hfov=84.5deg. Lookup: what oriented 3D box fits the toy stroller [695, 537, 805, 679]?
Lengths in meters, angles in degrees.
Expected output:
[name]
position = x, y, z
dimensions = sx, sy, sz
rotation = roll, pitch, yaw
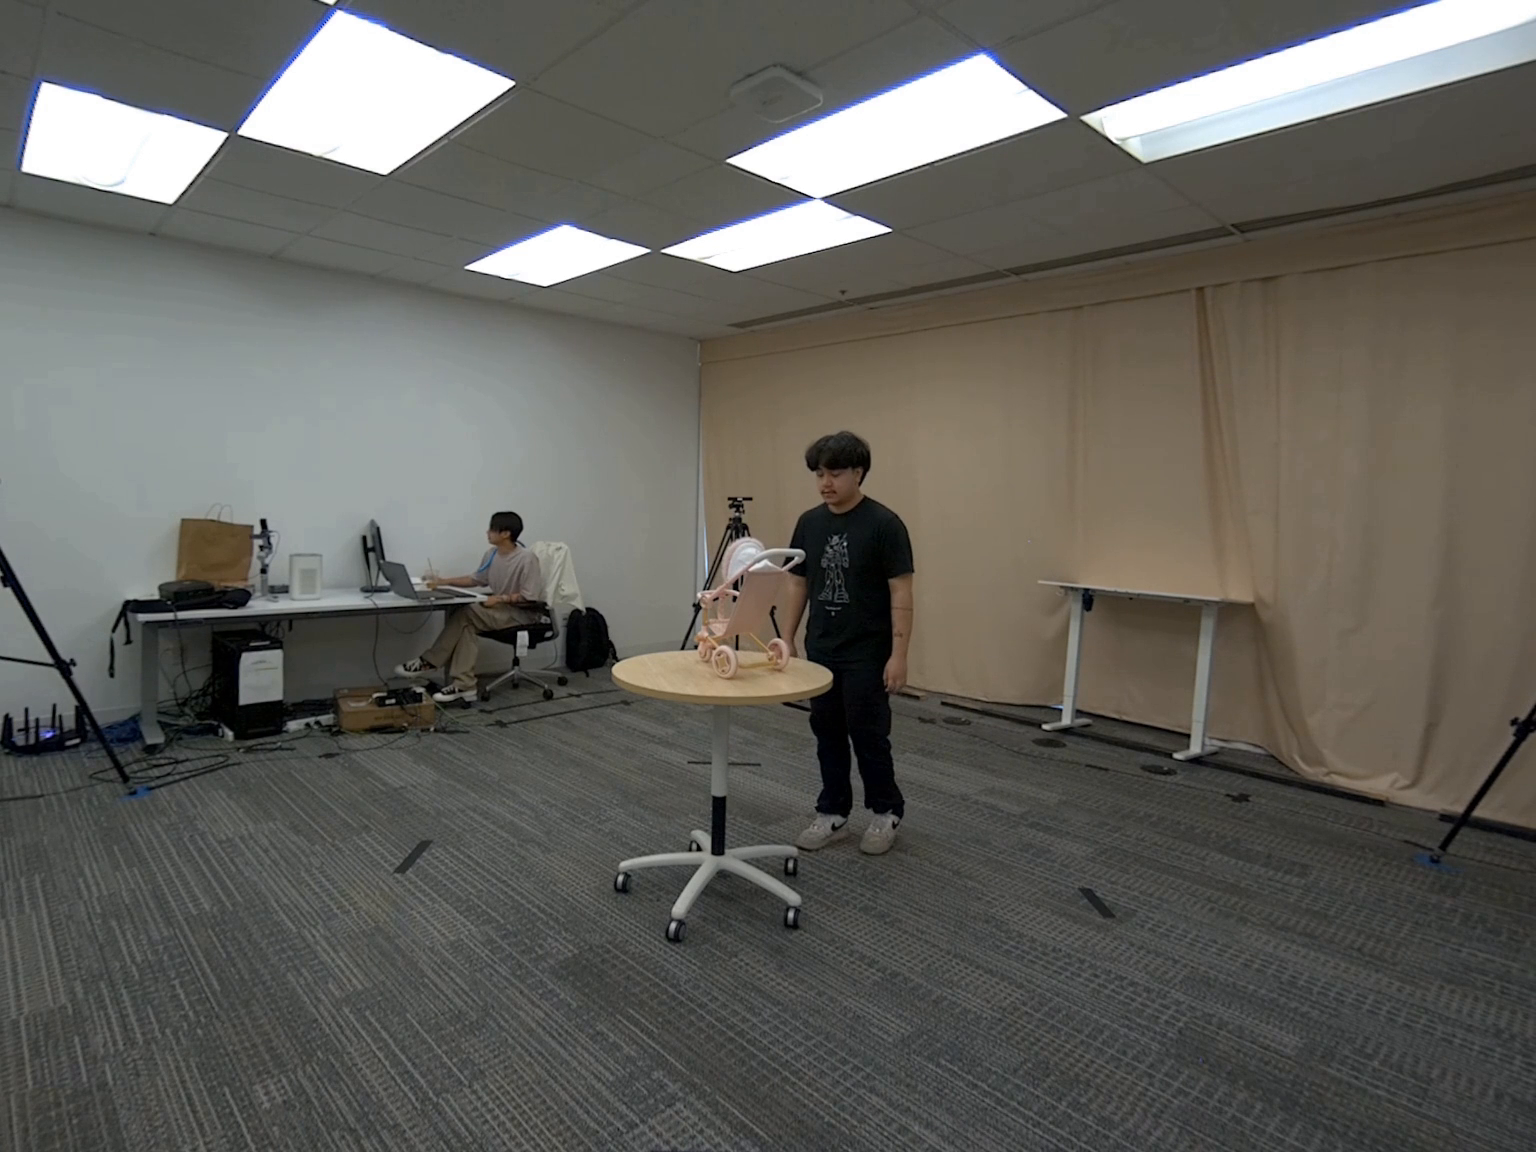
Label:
[toy stroller]
position = -0.095, 0.108, 2.916
dimensions = 0.275, 0.530, 0.352
rotation = -1, 20, -39
